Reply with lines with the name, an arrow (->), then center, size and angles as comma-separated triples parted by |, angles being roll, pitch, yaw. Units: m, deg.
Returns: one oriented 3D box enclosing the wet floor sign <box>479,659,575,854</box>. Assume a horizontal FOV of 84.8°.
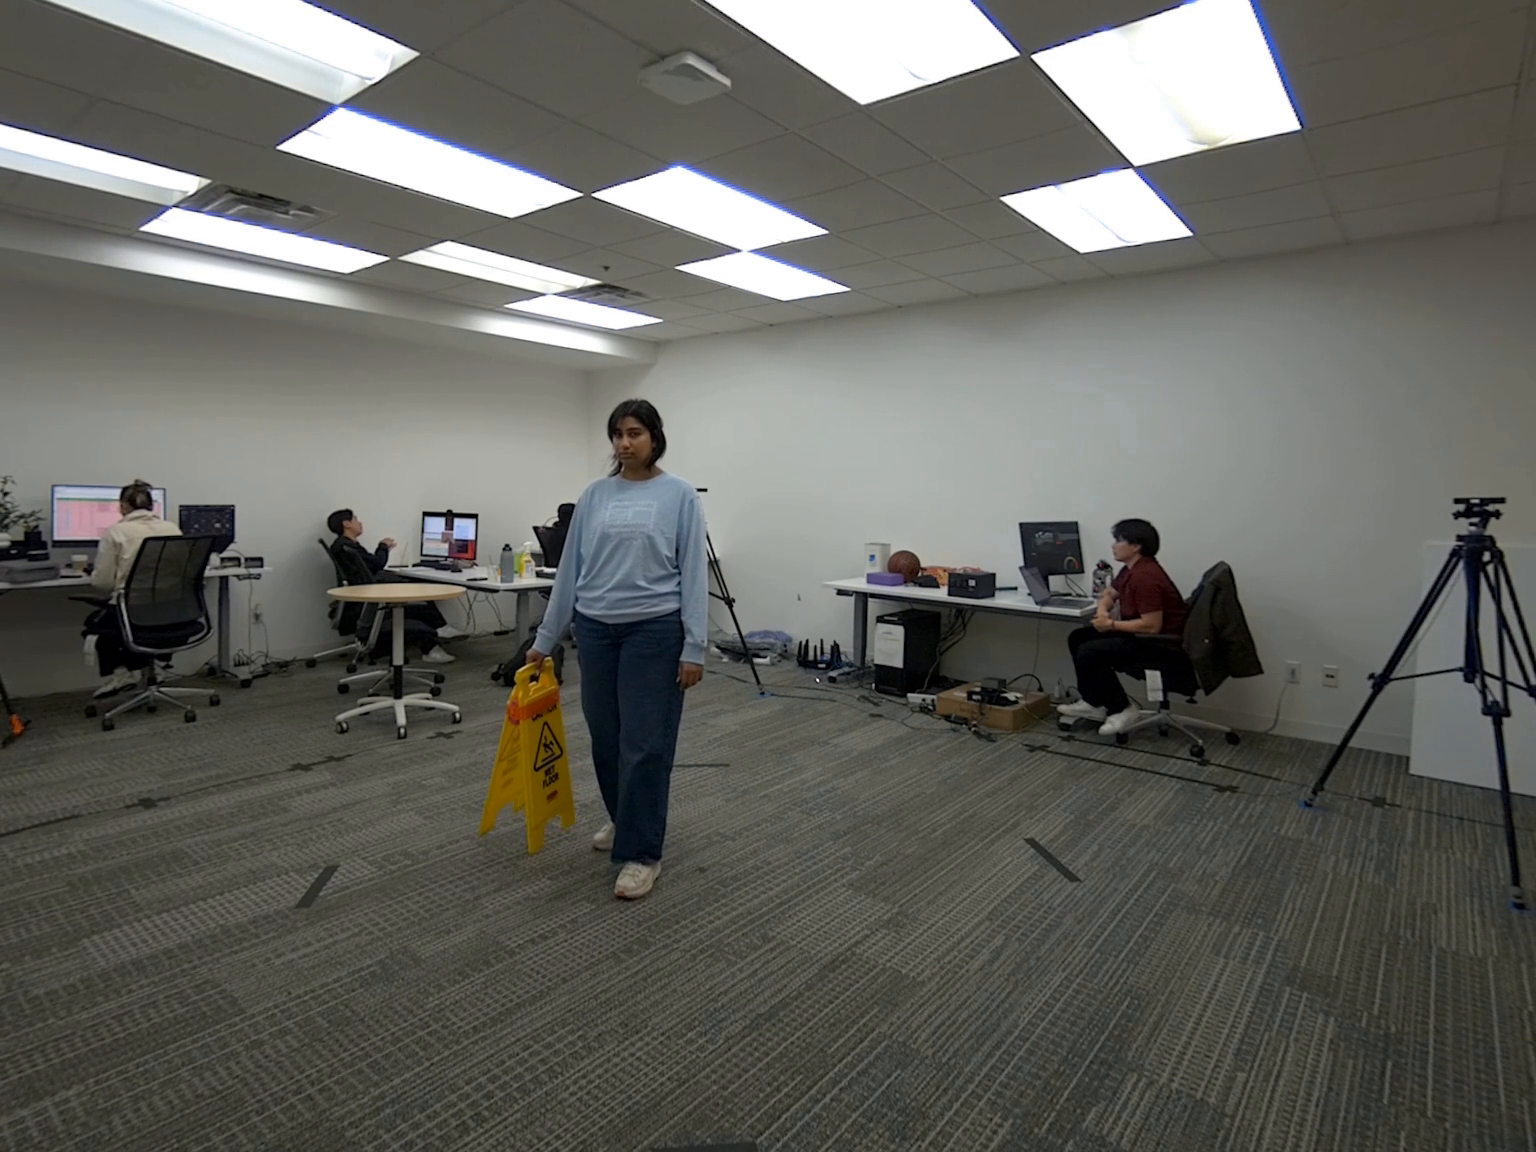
wet floor sign -> -0.890, 0.638, 3.142 | 0.297, 0.641, 0.277 | 8, 9, 21
